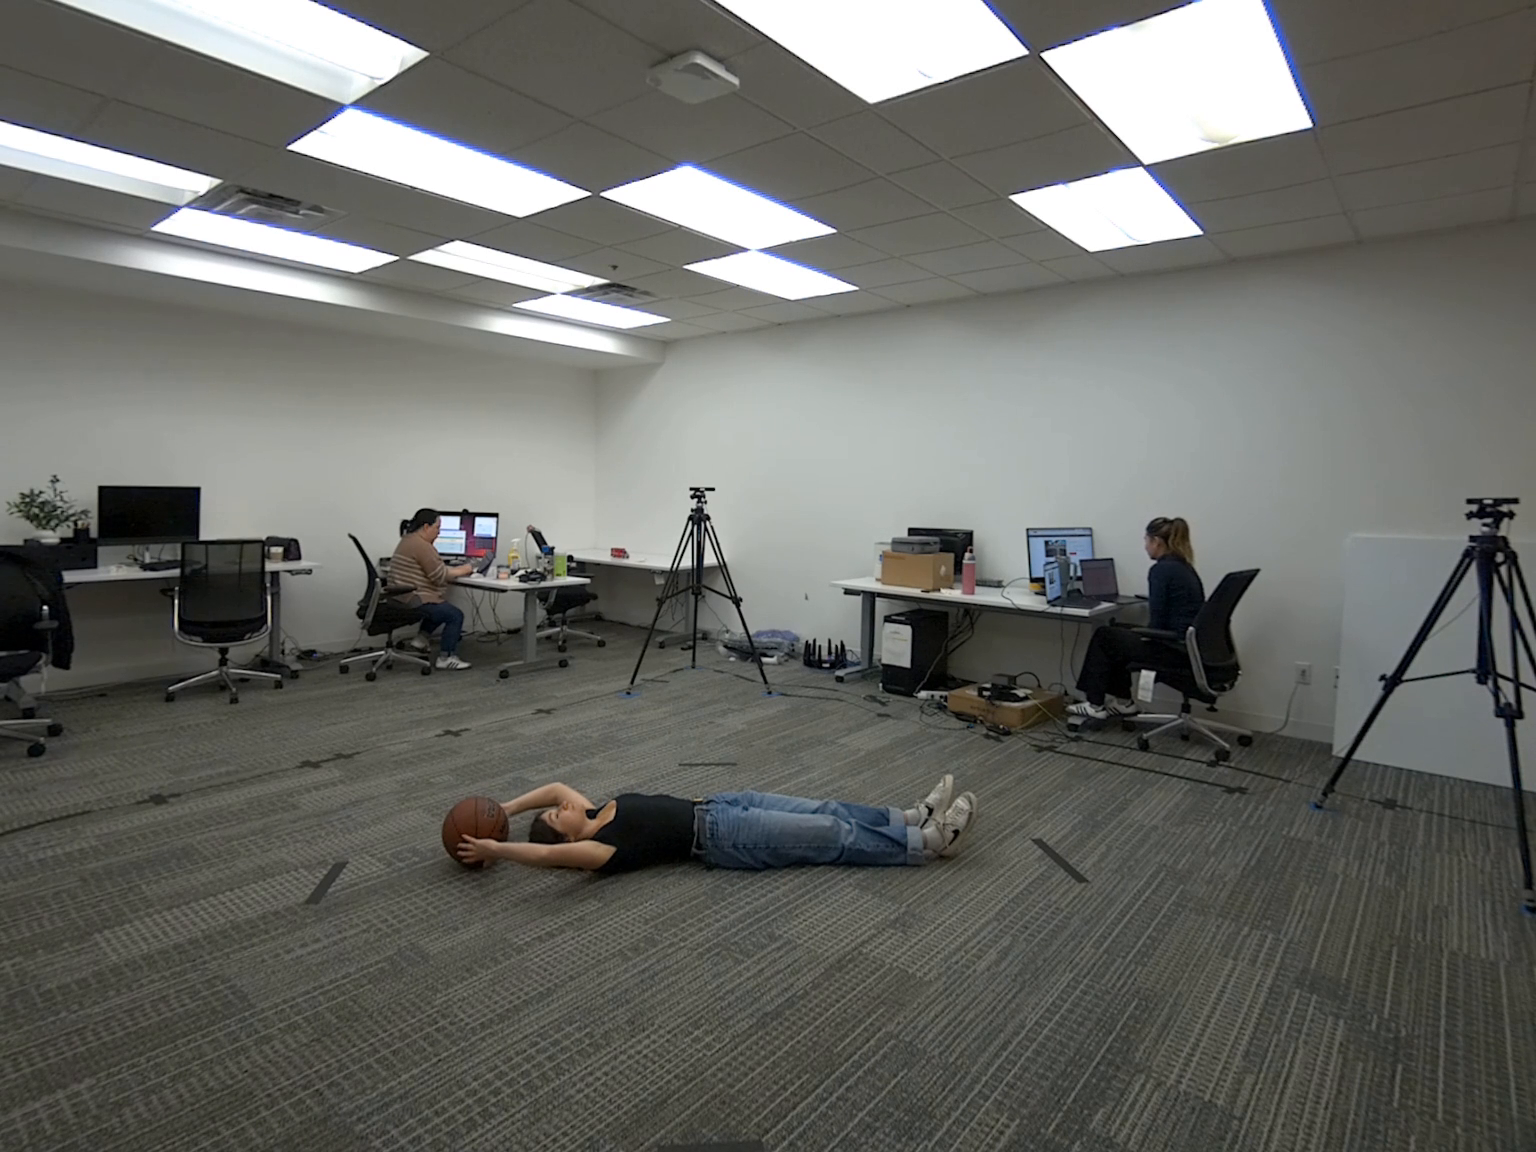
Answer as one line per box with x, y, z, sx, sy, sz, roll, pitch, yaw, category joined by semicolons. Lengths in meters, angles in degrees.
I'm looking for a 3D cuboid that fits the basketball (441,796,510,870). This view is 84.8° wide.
-1.084;0.929;3.116;0.235;0.235;0.237;1;4;-2;basketball
